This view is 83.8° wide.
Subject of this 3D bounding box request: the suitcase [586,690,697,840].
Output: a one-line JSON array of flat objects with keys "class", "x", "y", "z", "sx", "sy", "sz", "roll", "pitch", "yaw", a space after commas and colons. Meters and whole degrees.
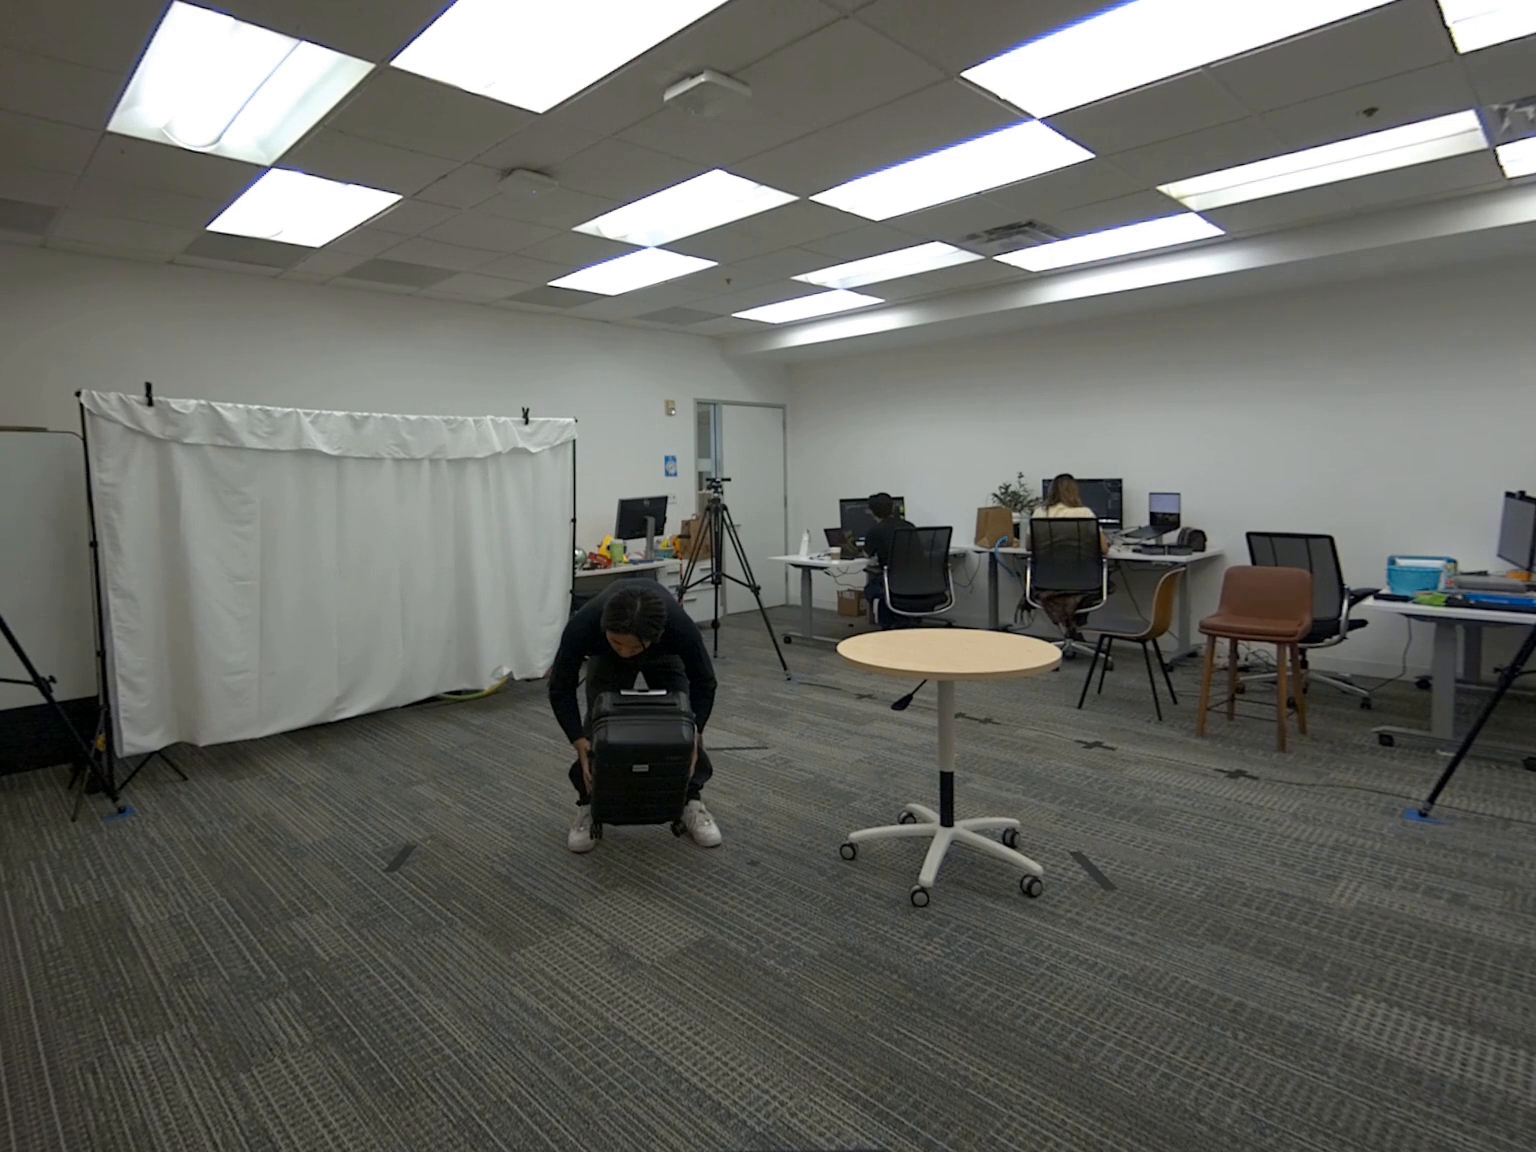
[{"class": "suitcase", "x": -0.453, "y": 0.660, "z": 3.031, "sx": 0.372, "sy": 0.538, "sz": 0.256, "roll": 2, "pitch": 38, "yaw": -10}]
